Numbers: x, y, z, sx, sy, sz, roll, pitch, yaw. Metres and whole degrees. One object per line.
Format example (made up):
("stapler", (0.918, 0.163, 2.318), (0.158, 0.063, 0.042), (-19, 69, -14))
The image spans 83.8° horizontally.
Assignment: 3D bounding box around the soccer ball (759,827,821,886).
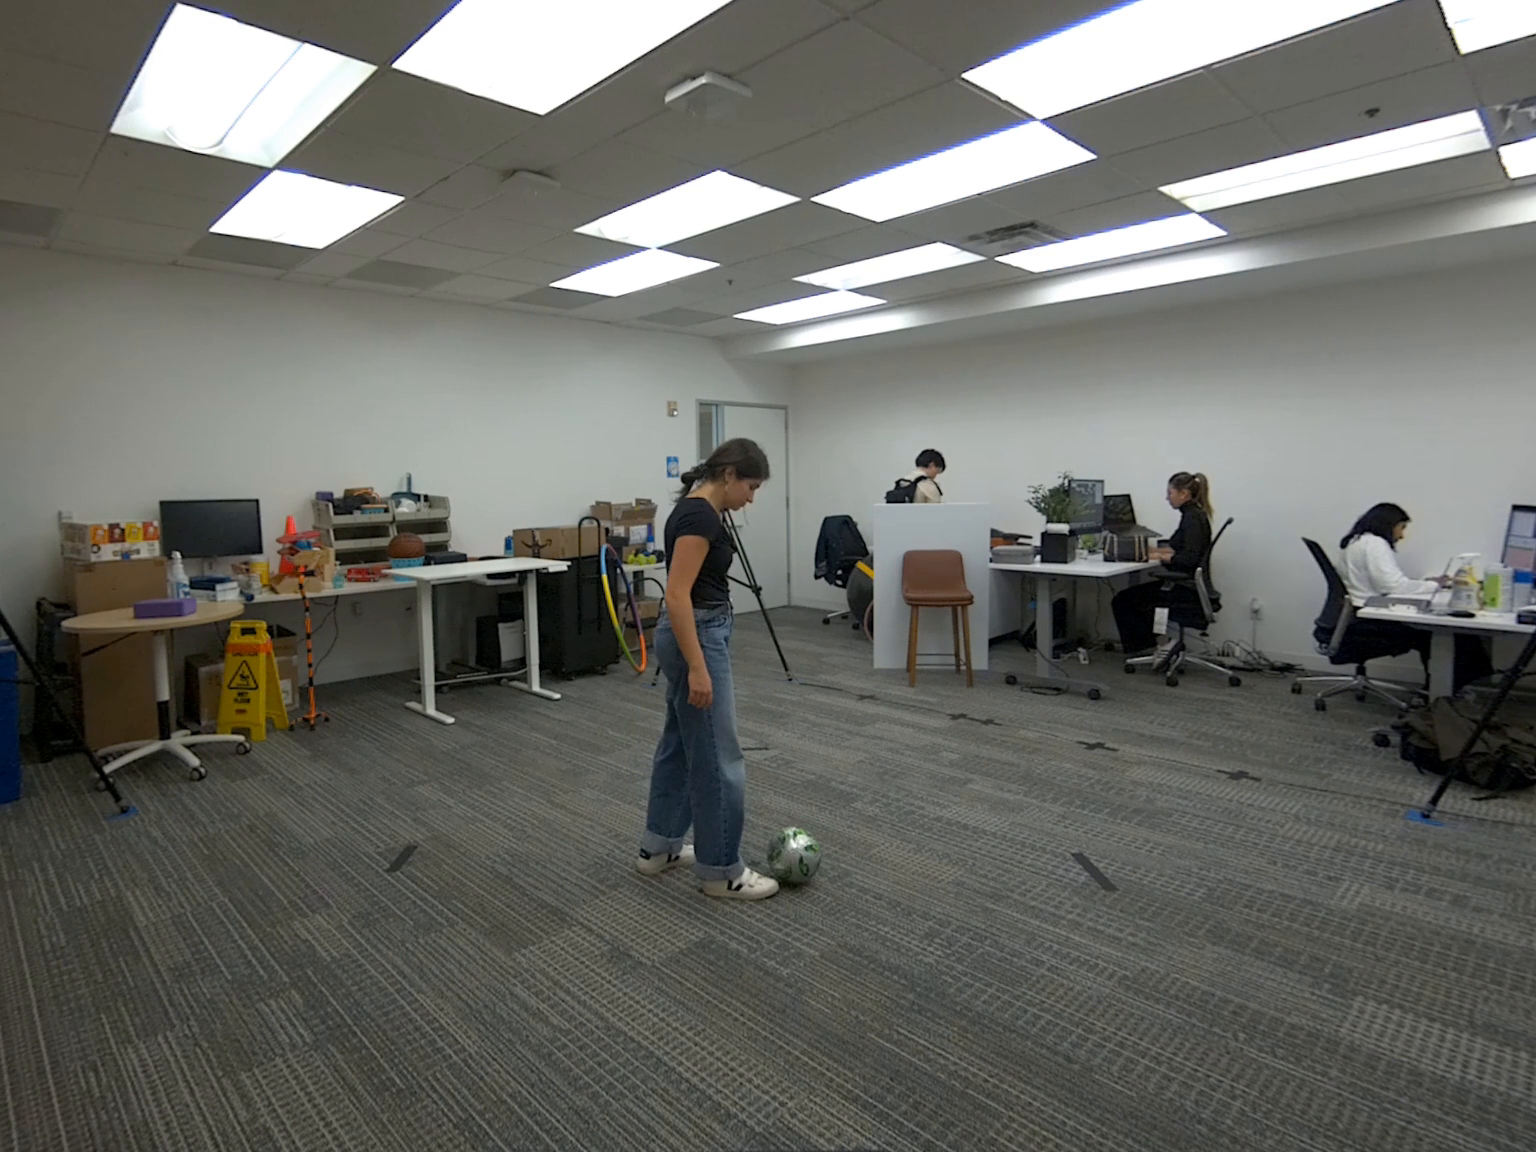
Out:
("soccer ball", (0.090, 0.960, 2.954), (0.187, 0.187, 0.188), (-1, 5, -2))
